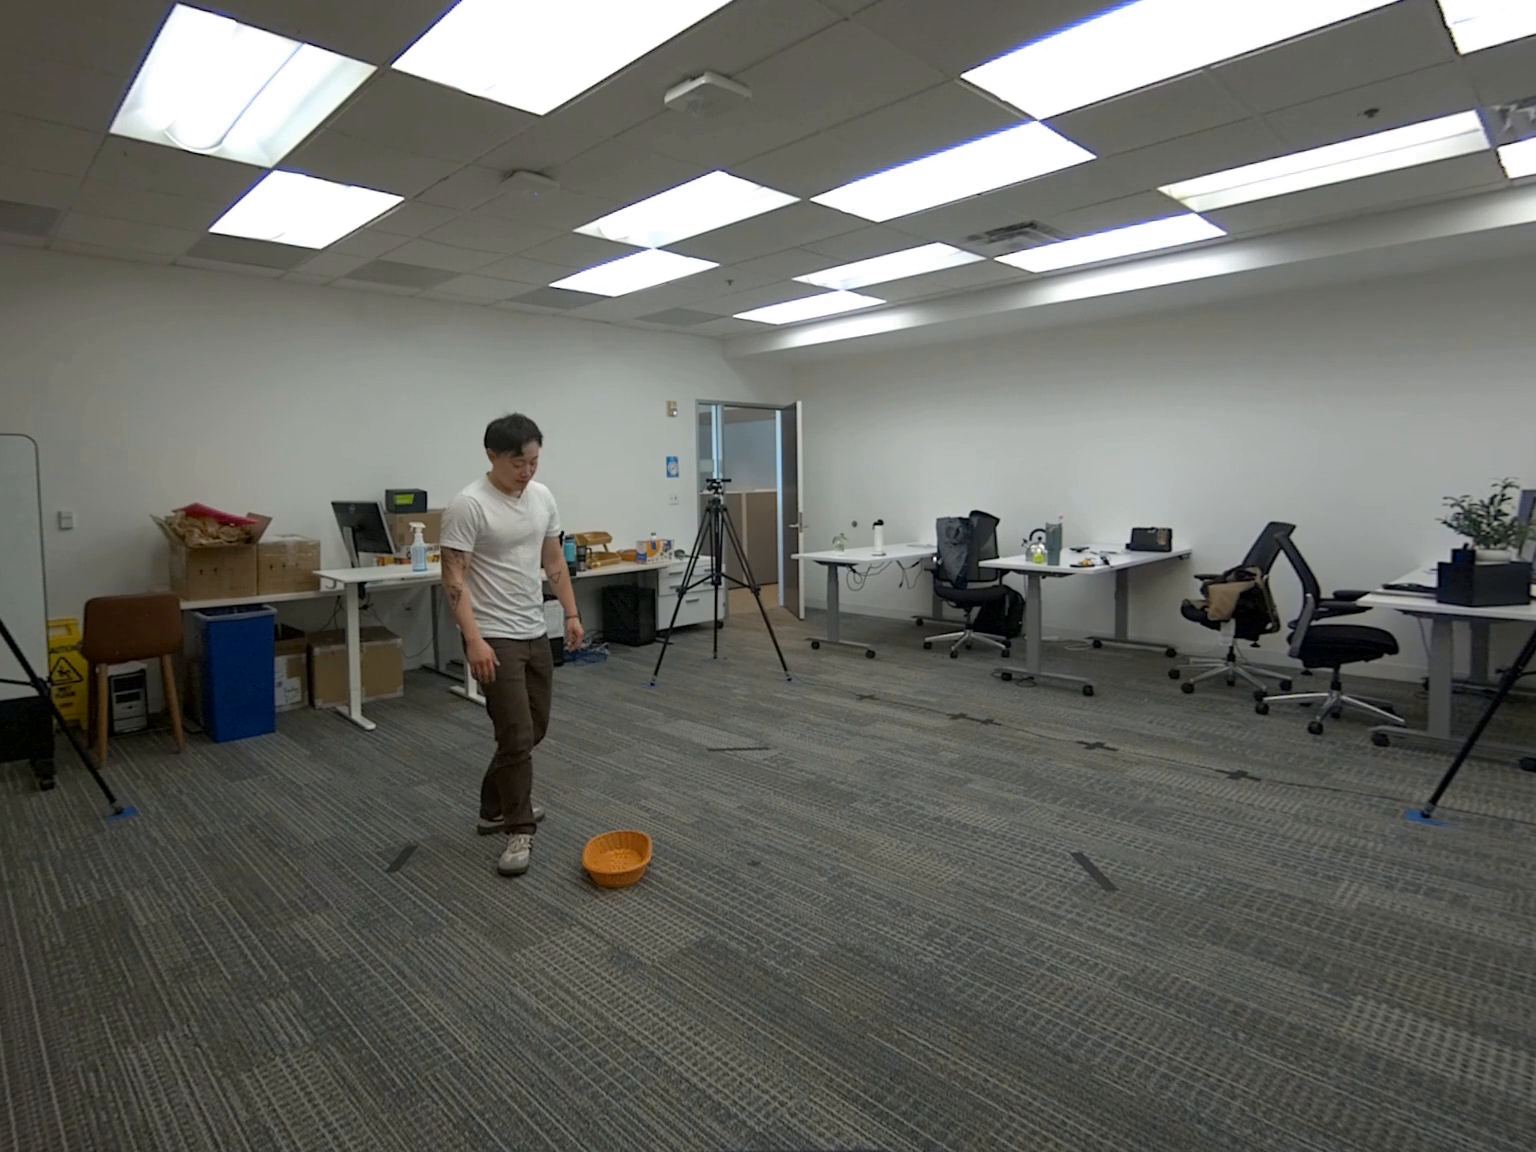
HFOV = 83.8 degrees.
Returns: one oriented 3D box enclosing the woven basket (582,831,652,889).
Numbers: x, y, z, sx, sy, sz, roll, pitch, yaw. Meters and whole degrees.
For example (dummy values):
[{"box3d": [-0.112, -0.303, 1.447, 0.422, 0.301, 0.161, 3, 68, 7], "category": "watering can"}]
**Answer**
[{"box3d": [-0.541, 1.019, 3.073, 0.251, 0.073, 0.354, -2, 7, -5], "category": "woven basket"}]
